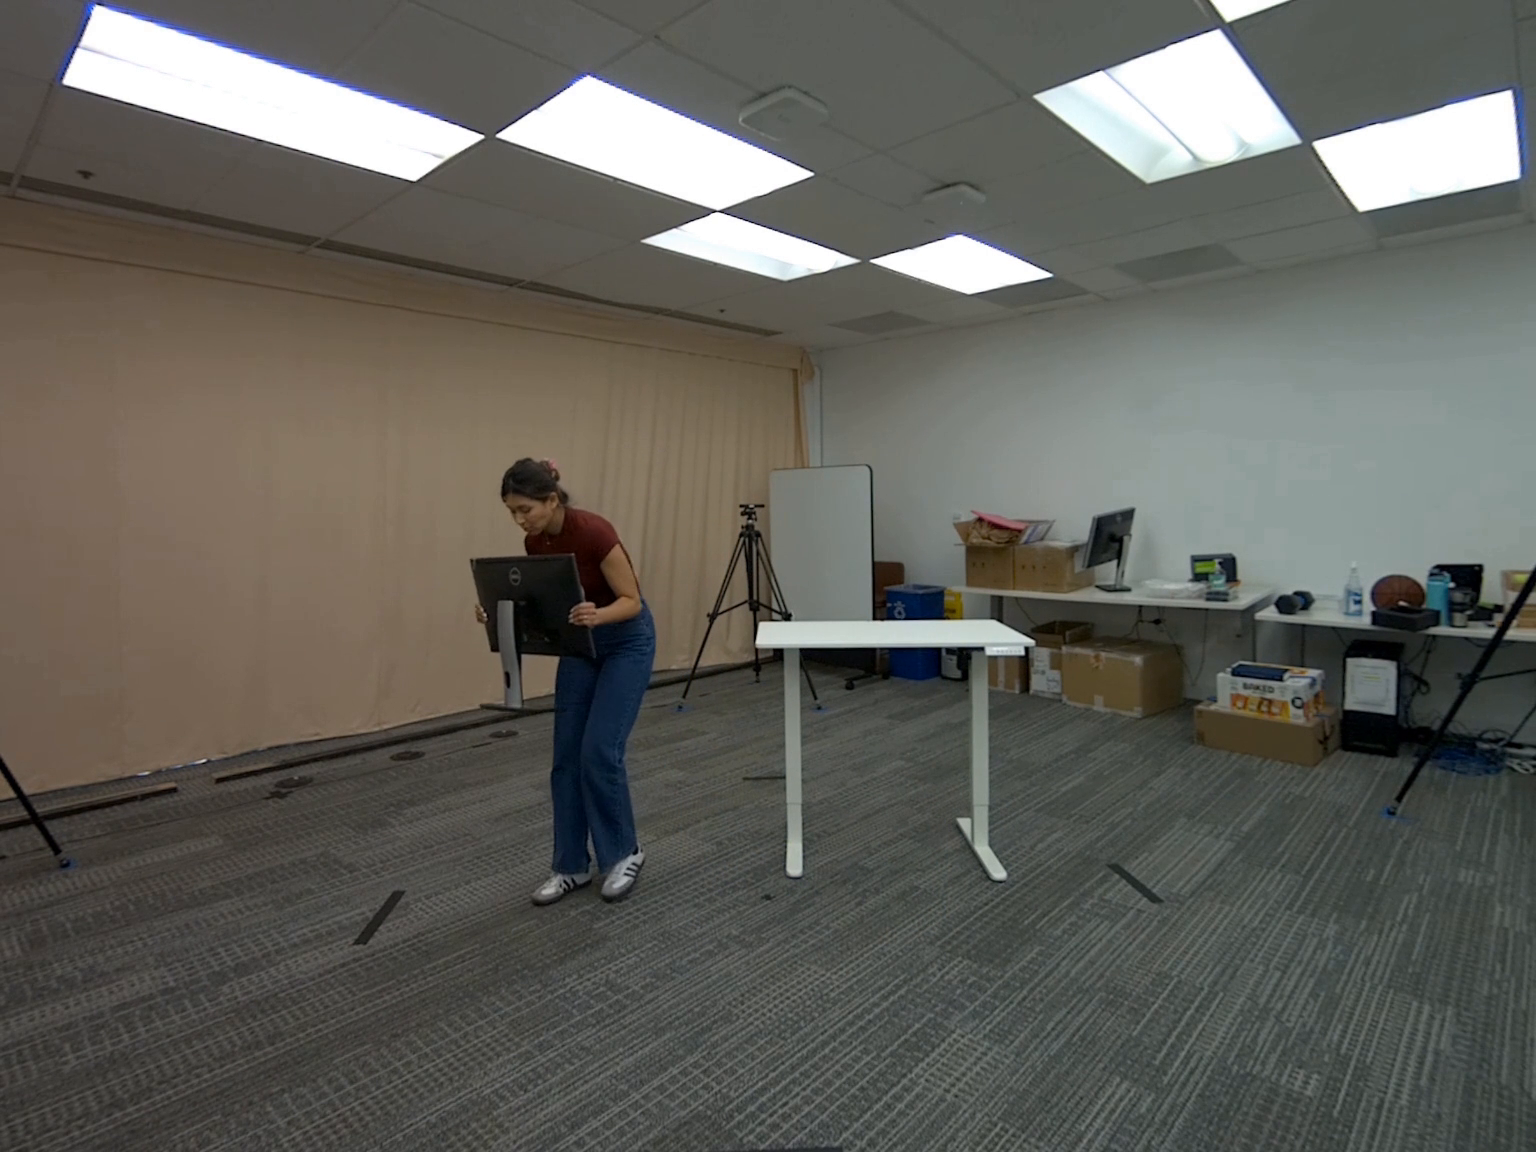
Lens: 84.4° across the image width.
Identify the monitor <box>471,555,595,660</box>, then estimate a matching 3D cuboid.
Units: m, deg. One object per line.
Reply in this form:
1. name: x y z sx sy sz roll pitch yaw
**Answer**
1. monitor: -0.822 0.197 2.849 0.555 0.523 0.181 -2 -2 34
